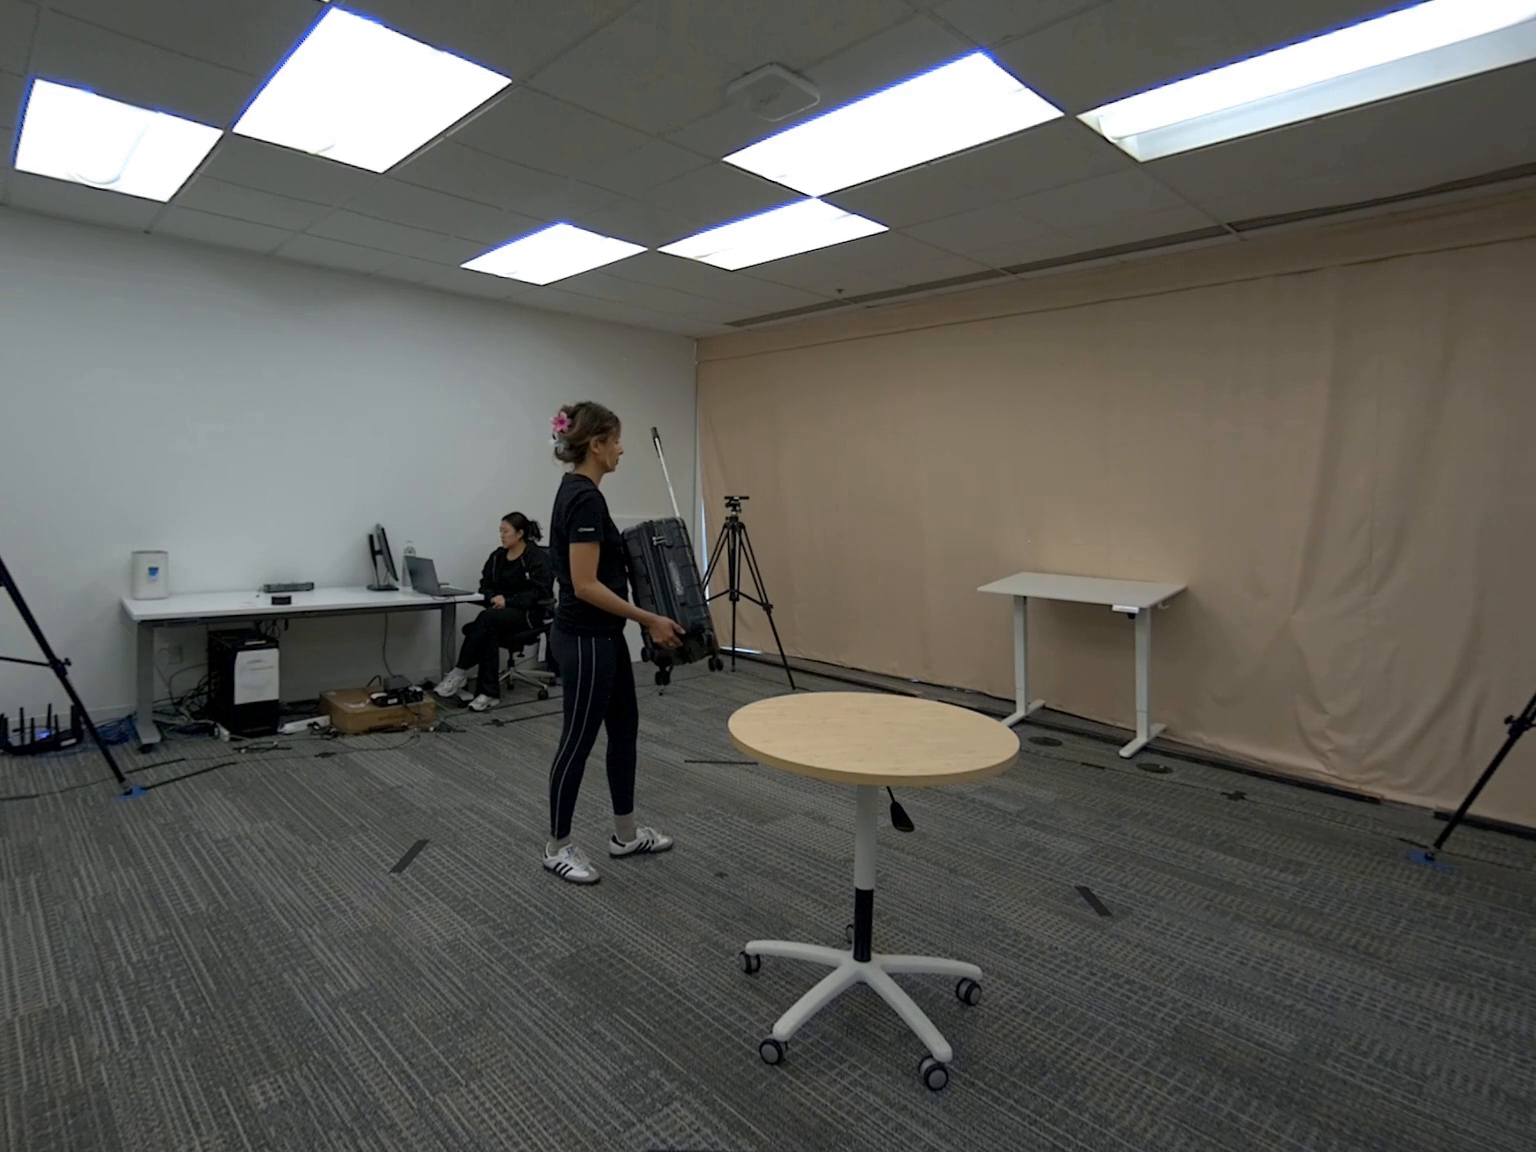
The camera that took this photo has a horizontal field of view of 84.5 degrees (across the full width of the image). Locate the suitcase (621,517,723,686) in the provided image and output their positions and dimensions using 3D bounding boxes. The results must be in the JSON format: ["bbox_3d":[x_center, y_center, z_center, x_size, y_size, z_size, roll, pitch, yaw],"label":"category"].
[{"bbox_3d":[-0.434,-0.113,3.259,0.257,0.999,0.376,-16,-24,-2],"label":"suitcase"}]
